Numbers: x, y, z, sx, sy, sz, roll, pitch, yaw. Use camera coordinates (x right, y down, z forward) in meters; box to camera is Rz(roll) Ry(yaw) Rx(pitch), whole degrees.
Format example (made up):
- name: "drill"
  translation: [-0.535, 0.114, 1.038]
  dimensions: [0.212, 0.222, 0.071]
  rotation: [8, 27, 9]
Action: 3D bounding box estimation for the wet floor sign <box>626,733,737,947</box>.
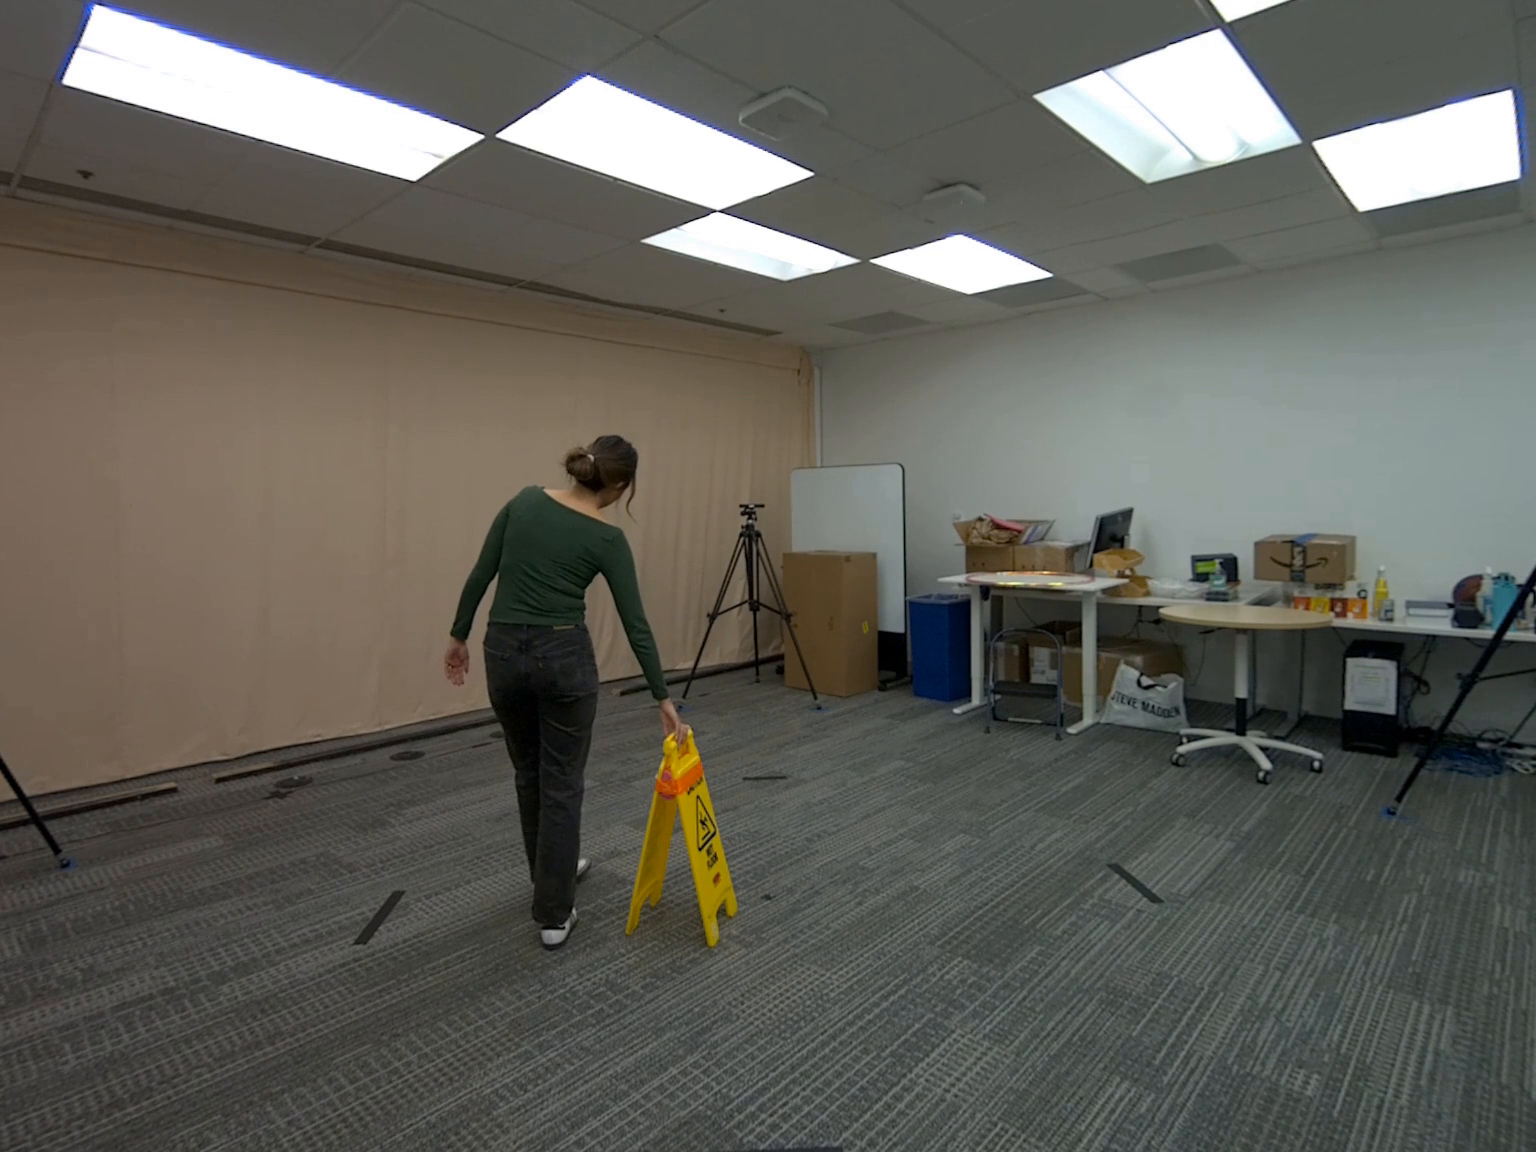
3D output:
- name: "wet floor sign"
  translation: [-0.286, 0.843, 2.797]
  dimensions: [0.295, 0.644, 0.278]
  rotation: [1, 5, 18]
